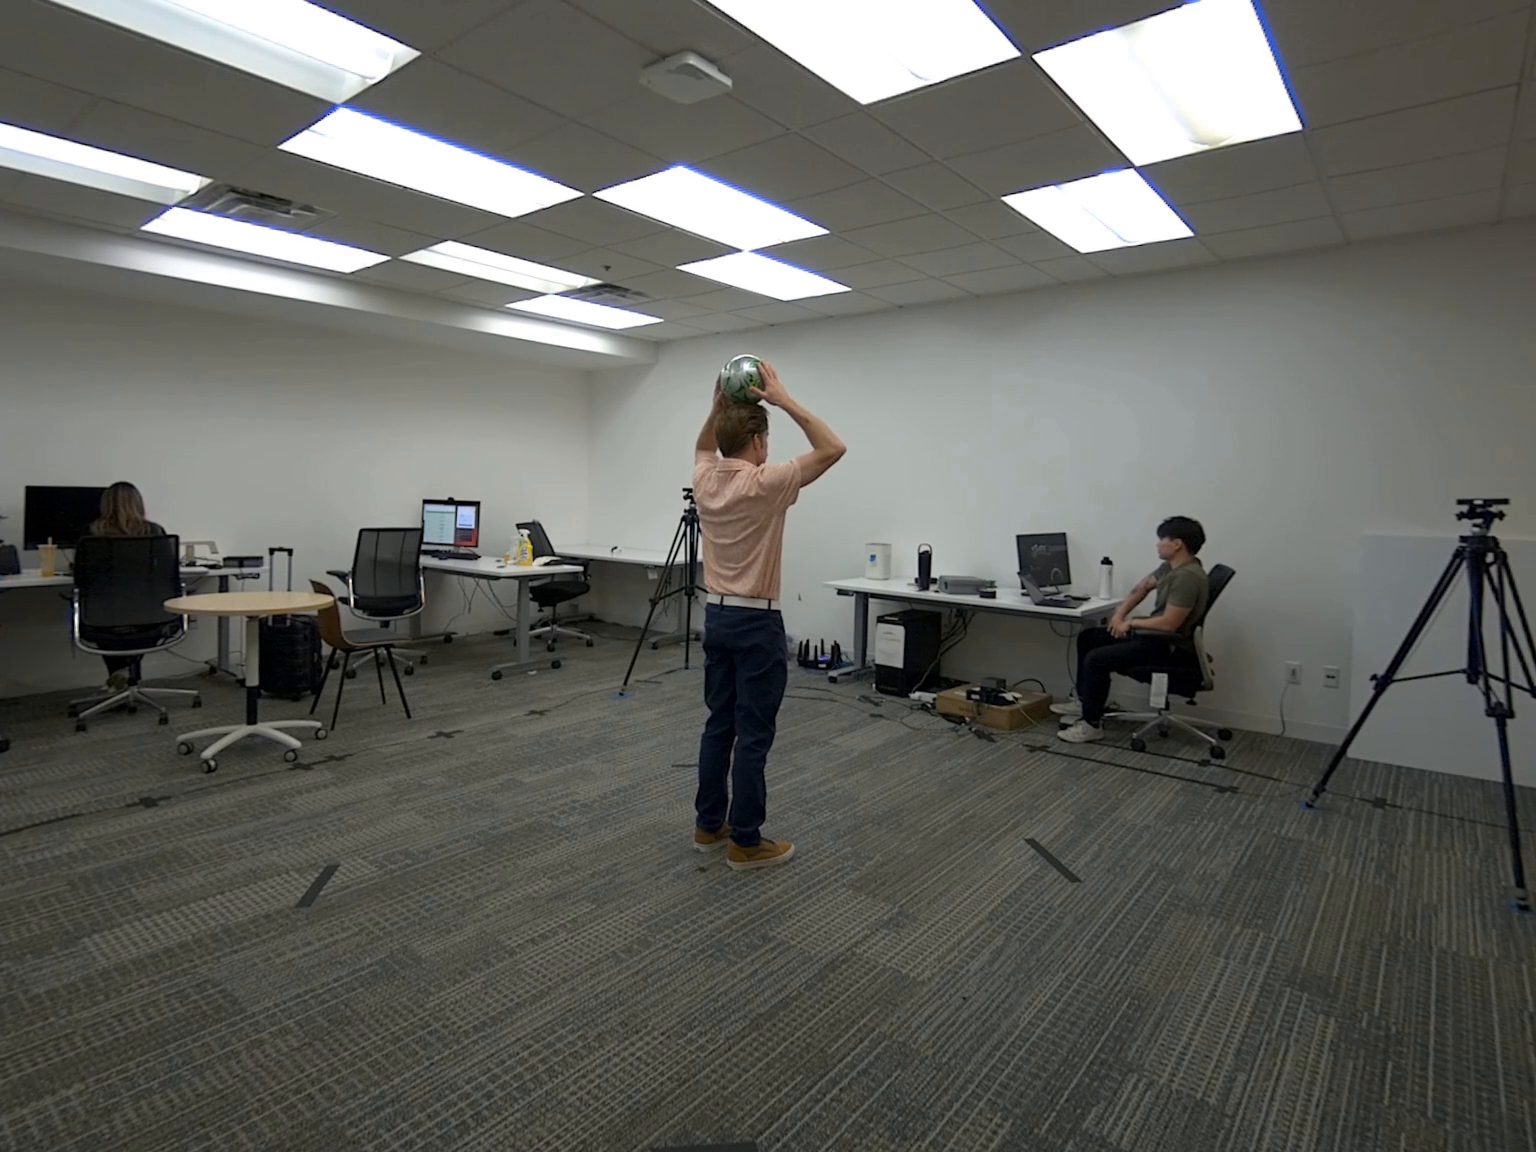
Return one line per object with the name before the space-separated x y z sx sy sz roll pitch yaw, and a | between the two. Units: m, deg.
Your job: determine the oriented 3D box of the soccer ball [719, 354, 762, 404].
soccer ball | -0.097 -0.729 3.177 0.187 0.187 0.188 1 4 -2
